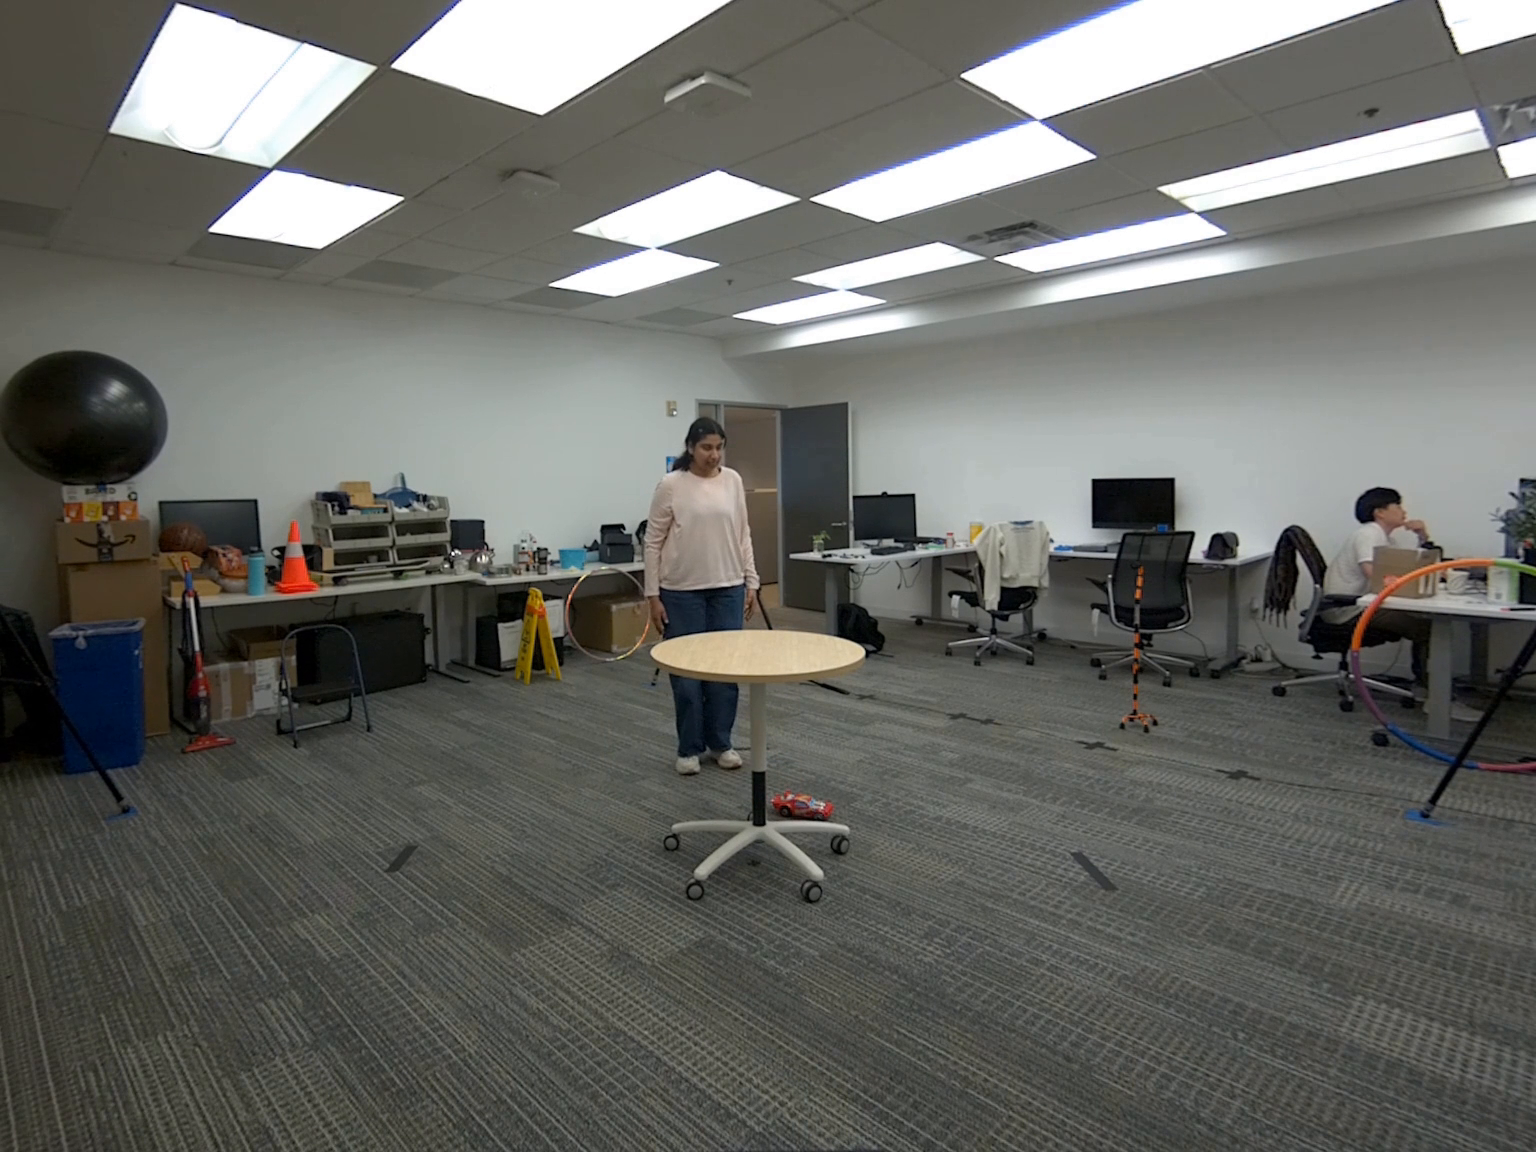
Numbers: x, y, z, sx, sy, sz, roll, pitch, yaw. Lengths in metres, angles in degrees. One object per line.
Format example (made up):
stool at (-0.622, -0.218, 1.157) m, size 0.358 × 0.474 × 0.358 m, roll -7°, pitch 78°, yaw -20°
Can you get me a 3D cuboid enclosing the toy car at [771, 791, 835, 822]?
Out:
toy car at (0.137, 0.955, 3.547) m, size 0.261 × 0.082 × 0.128 m, roll 13°, pitch 11°, yaw 22°
